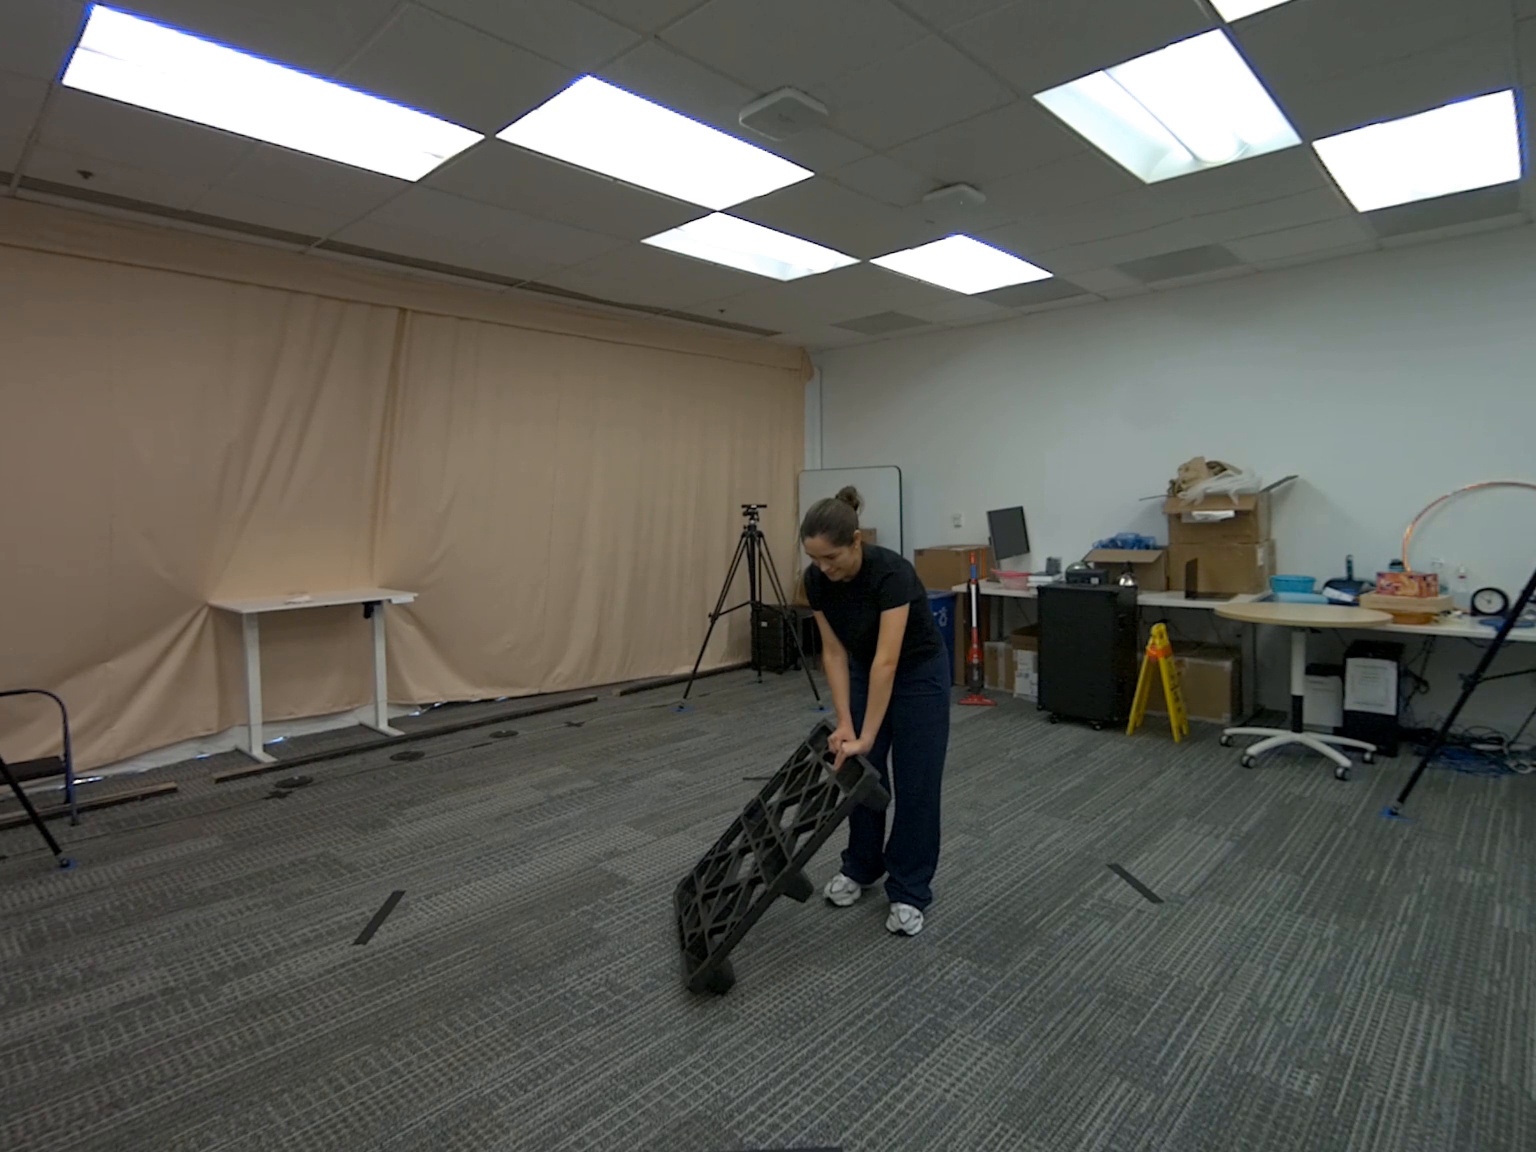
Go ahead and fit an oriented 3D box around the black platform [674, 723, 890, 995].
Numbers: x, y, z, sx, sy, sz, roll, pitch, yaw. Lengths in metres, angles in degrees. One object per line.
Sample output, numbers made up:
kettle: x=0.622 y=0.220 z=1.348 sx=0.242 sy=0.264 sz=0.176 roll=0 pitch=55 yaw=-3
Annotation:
black platform: x=0.040 y=0.857 z=2.632 sx=0.142 sy=0.805 sz=0.611 roll=41 pitch=-2 yaw=-10
